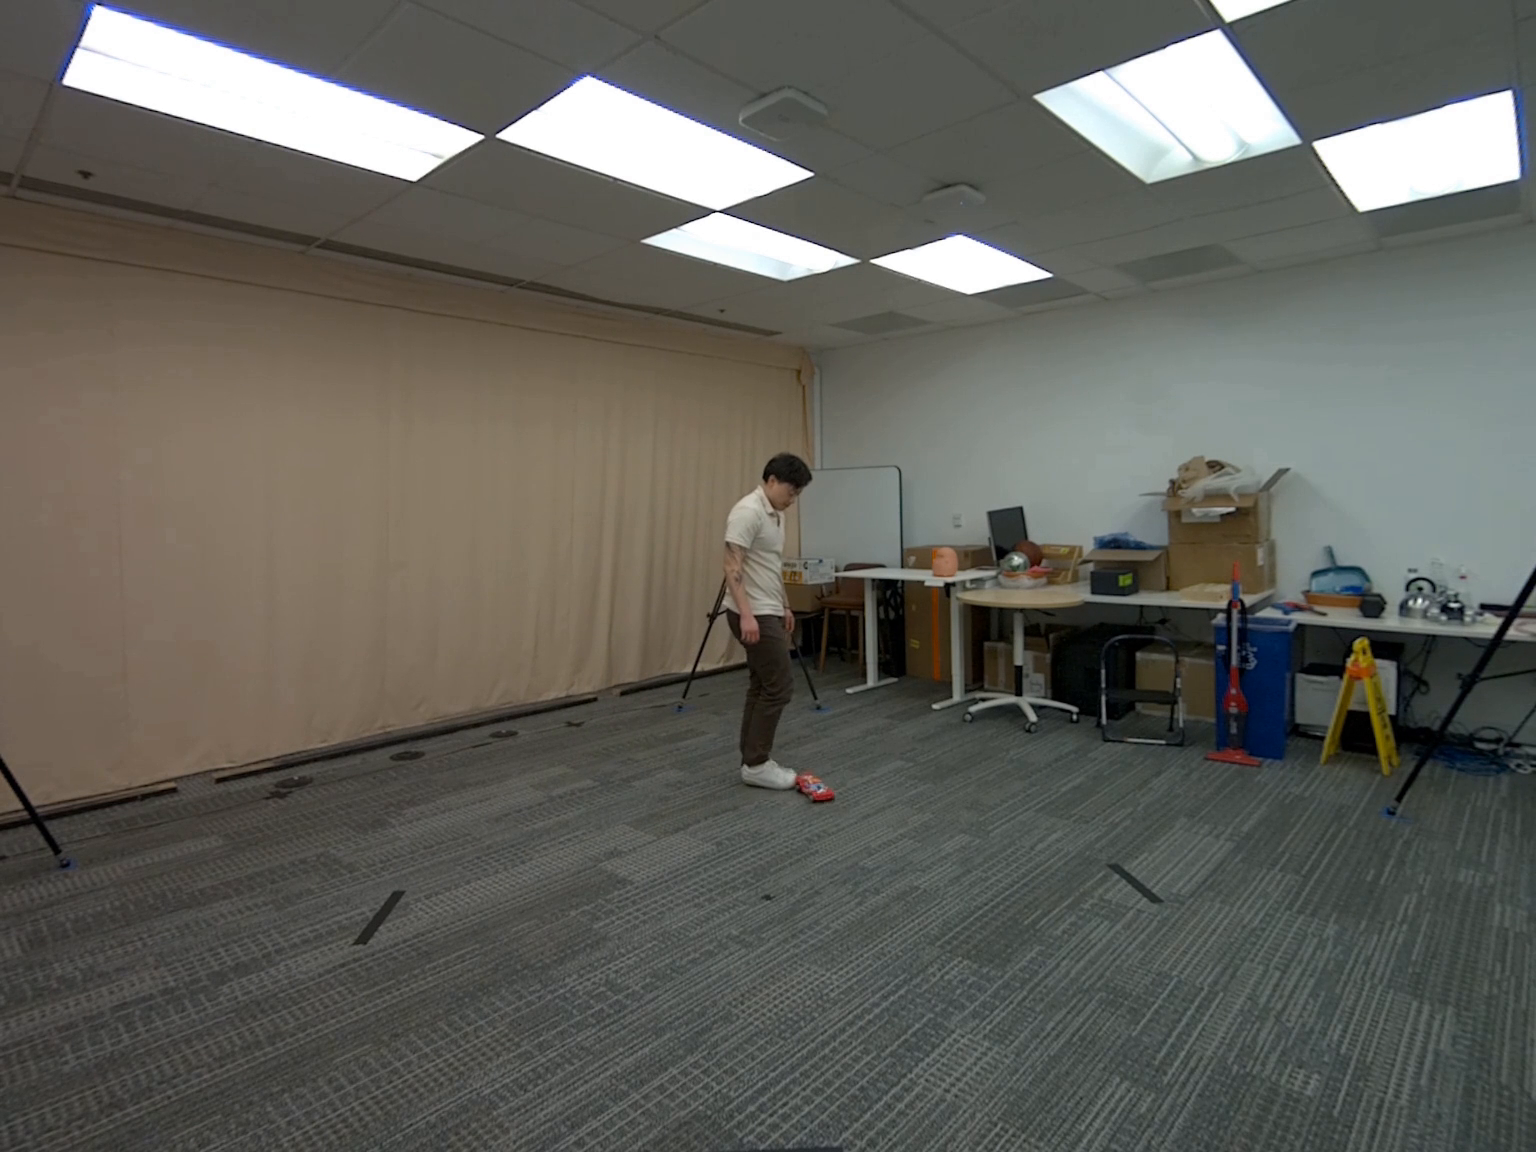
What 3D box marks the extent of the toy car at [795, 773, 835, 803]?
[{"bbox_3d":[0.215,1.013,4.029,0.128,0.082,0.262,-2,17,-21],"label":"toy car"}]
